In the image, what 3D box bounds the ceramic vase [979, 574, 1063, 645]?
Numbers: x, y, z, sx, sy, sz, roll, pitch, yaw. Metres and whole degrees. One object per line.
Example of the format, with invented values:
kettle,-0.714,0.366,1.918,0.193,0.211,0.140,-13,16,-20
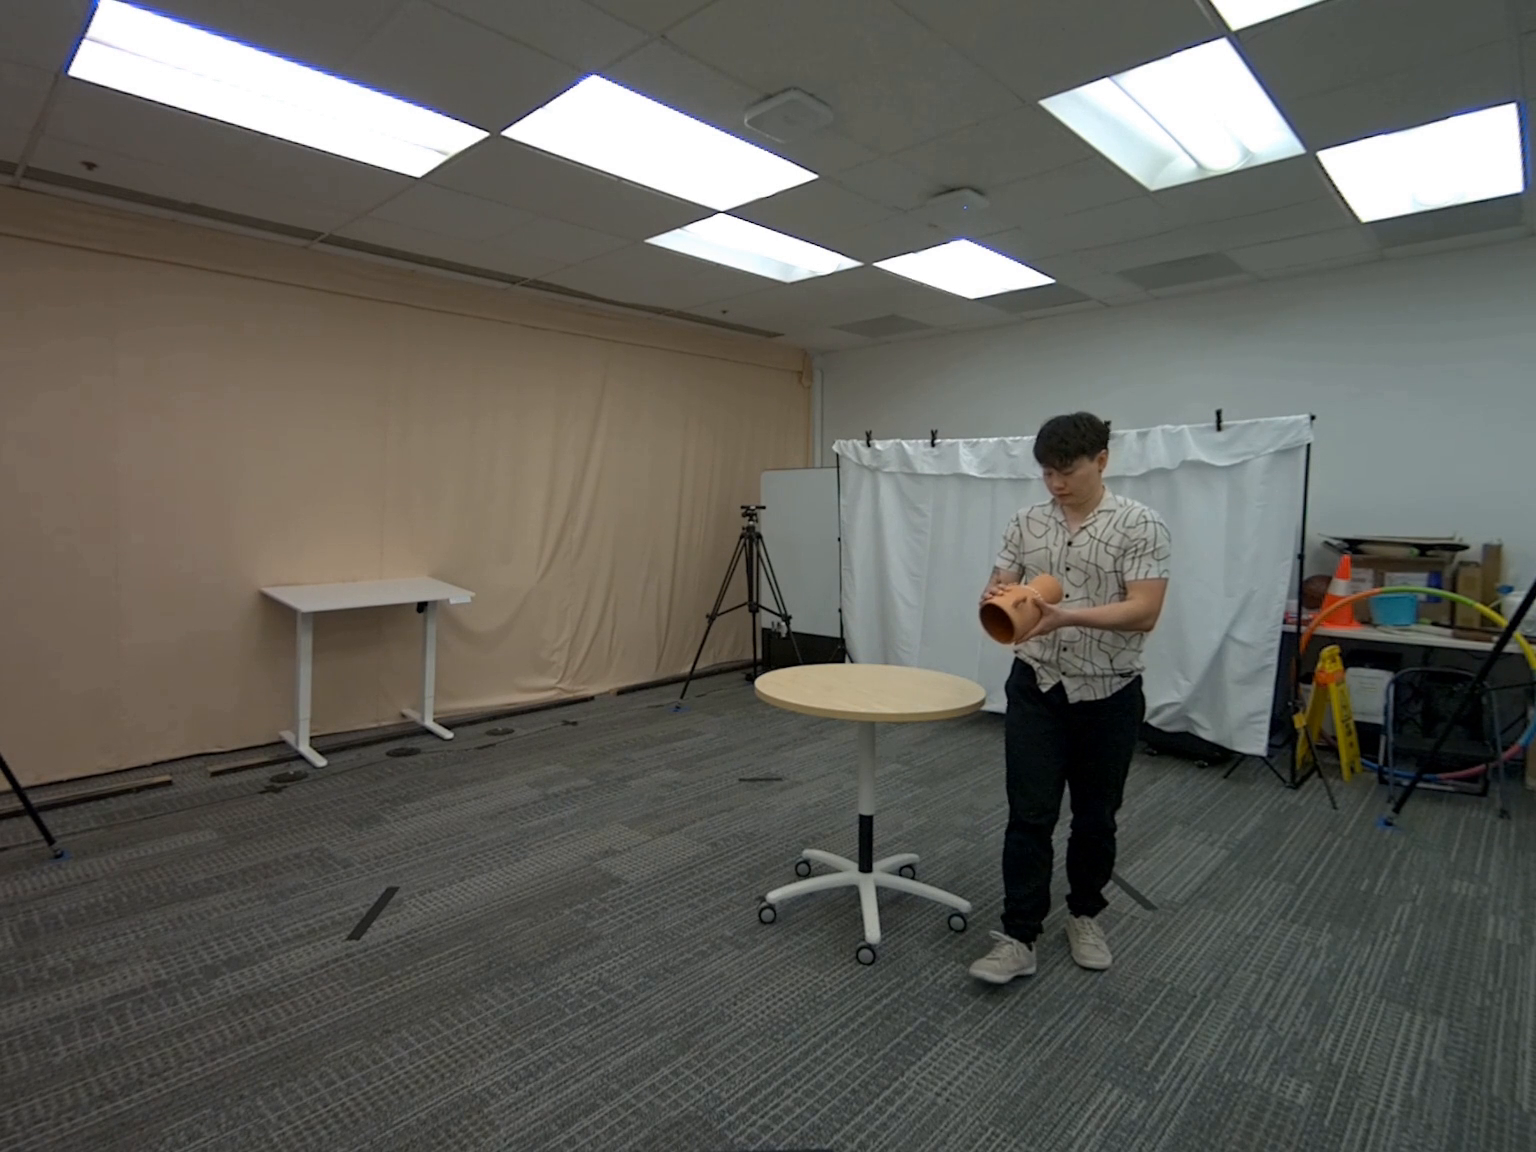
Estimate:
ceramic vase,0.715,0.086,2.380,0.216,0.133,0.163,-28,14,-25
